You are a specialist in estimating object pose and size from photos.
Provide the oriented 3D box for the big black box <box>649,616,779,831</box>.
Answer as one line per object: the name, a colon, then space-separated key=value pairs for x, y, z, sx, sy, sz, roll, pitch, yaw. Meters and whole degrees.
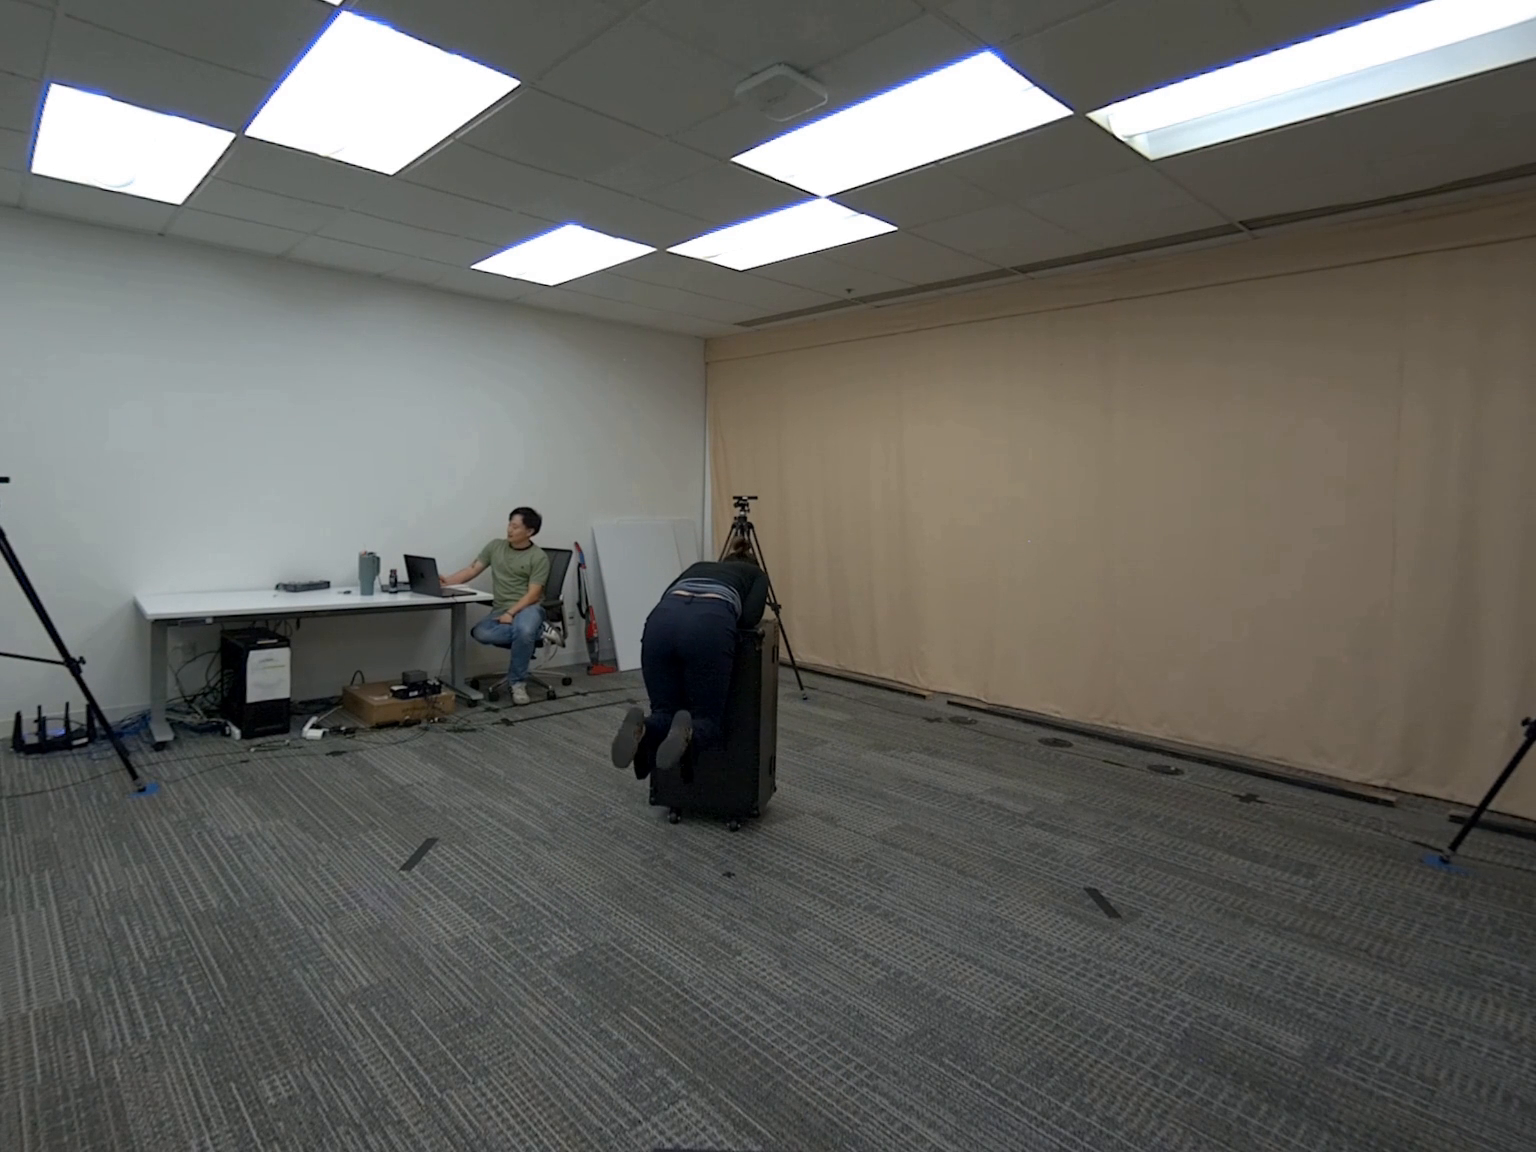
big black box: x=-0.230 y=0.628 z=3.677 sx=0.527 sy=0.859 sz=0.393 roll=3 pitch=4 yaw=13
